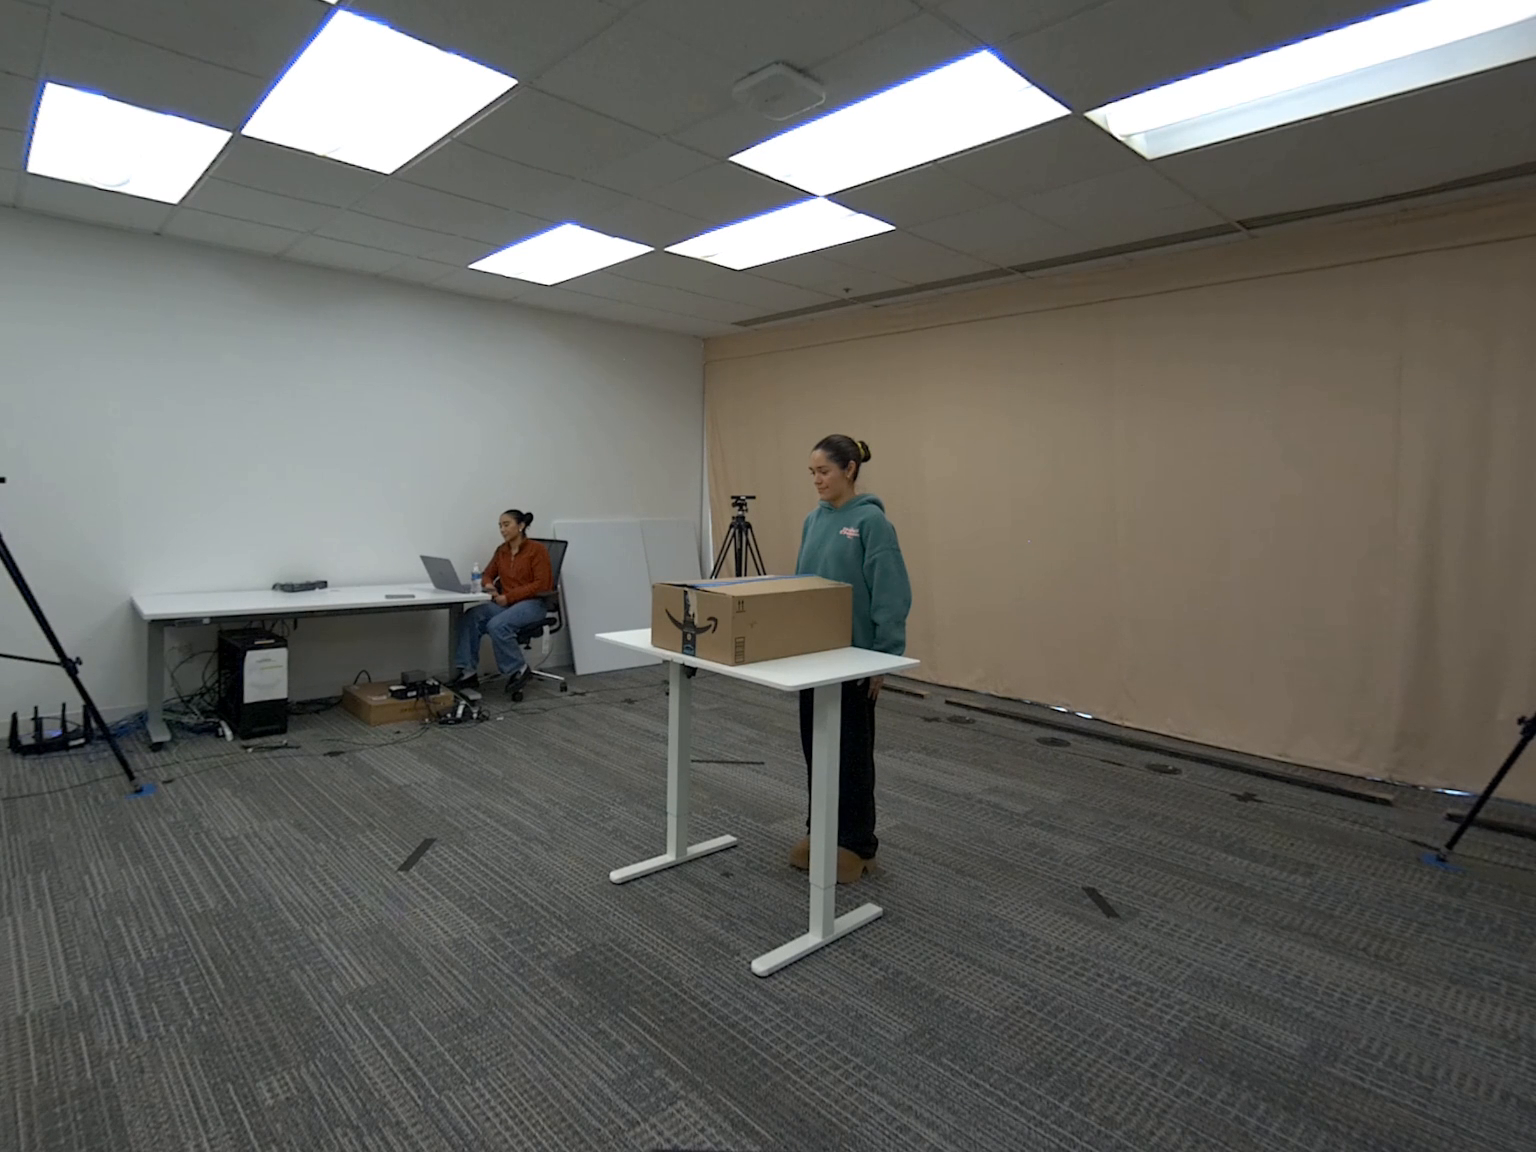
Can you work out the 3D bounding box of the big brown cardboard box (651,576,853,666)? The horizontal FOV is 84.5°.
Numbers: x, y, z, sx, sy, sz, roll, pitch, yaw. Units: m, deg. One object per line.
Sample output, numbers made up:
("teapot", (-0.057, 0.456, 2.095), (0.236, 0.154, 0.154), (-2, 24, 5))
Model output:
("big brown cardboard box", (-0.055, 0.134, 2.878), (0.576, 0.232, 0.428), (-5, 8, -44))
